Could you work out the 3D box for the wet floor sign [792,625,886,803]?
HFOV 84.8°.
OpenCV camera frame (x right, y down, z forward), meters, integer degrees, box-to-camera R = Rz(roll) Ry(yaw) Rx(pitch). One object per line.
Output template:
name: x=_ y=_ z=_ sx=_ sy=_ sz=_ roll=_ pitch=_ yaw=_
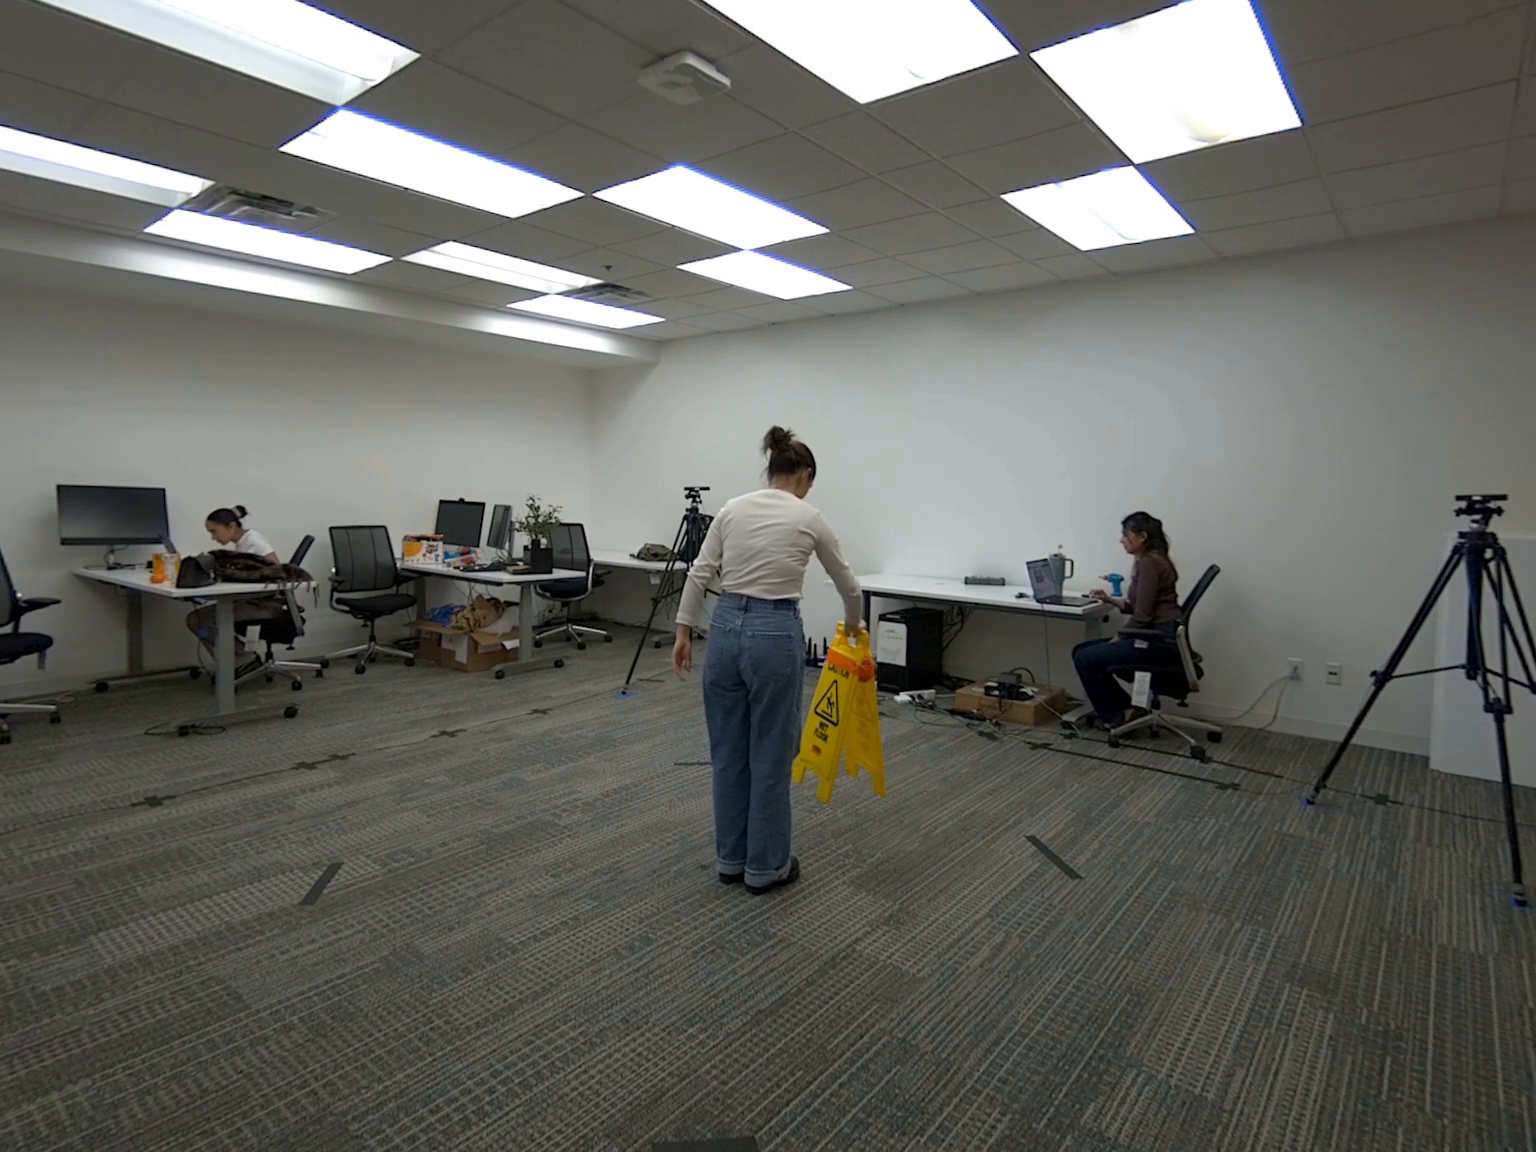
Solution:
wet floor sign: x=0.297 y=0.501 z=3.325 sx=0.282 sy=0.643 sz=0.291 roll=3 pitch=6 yaw=-27
